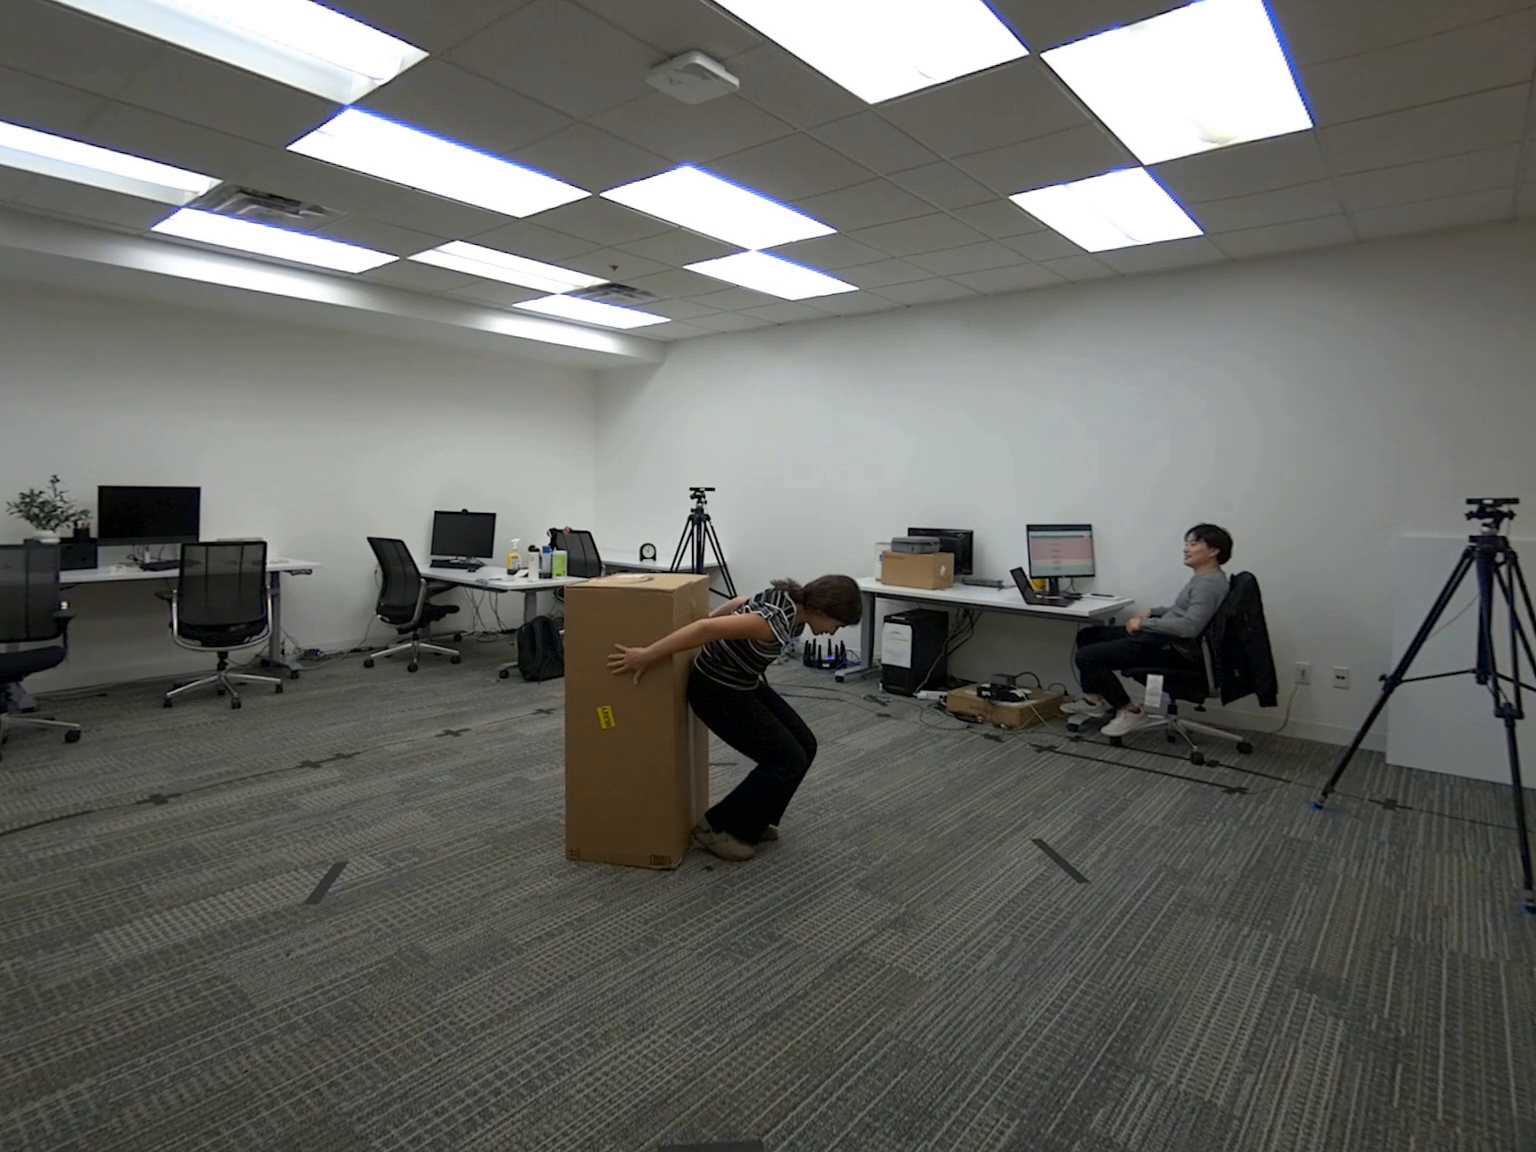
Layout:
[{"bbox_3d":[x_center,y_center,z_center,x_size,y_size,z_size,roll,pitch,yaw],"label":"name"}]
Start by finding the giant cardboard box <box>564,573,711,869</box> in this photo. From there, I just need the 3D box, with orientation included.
[{"bbox_3d":[-0.511,0.523,3.374,0.431,1.023,0.572,1,3,10],"label":"giant cardboard box"}]
